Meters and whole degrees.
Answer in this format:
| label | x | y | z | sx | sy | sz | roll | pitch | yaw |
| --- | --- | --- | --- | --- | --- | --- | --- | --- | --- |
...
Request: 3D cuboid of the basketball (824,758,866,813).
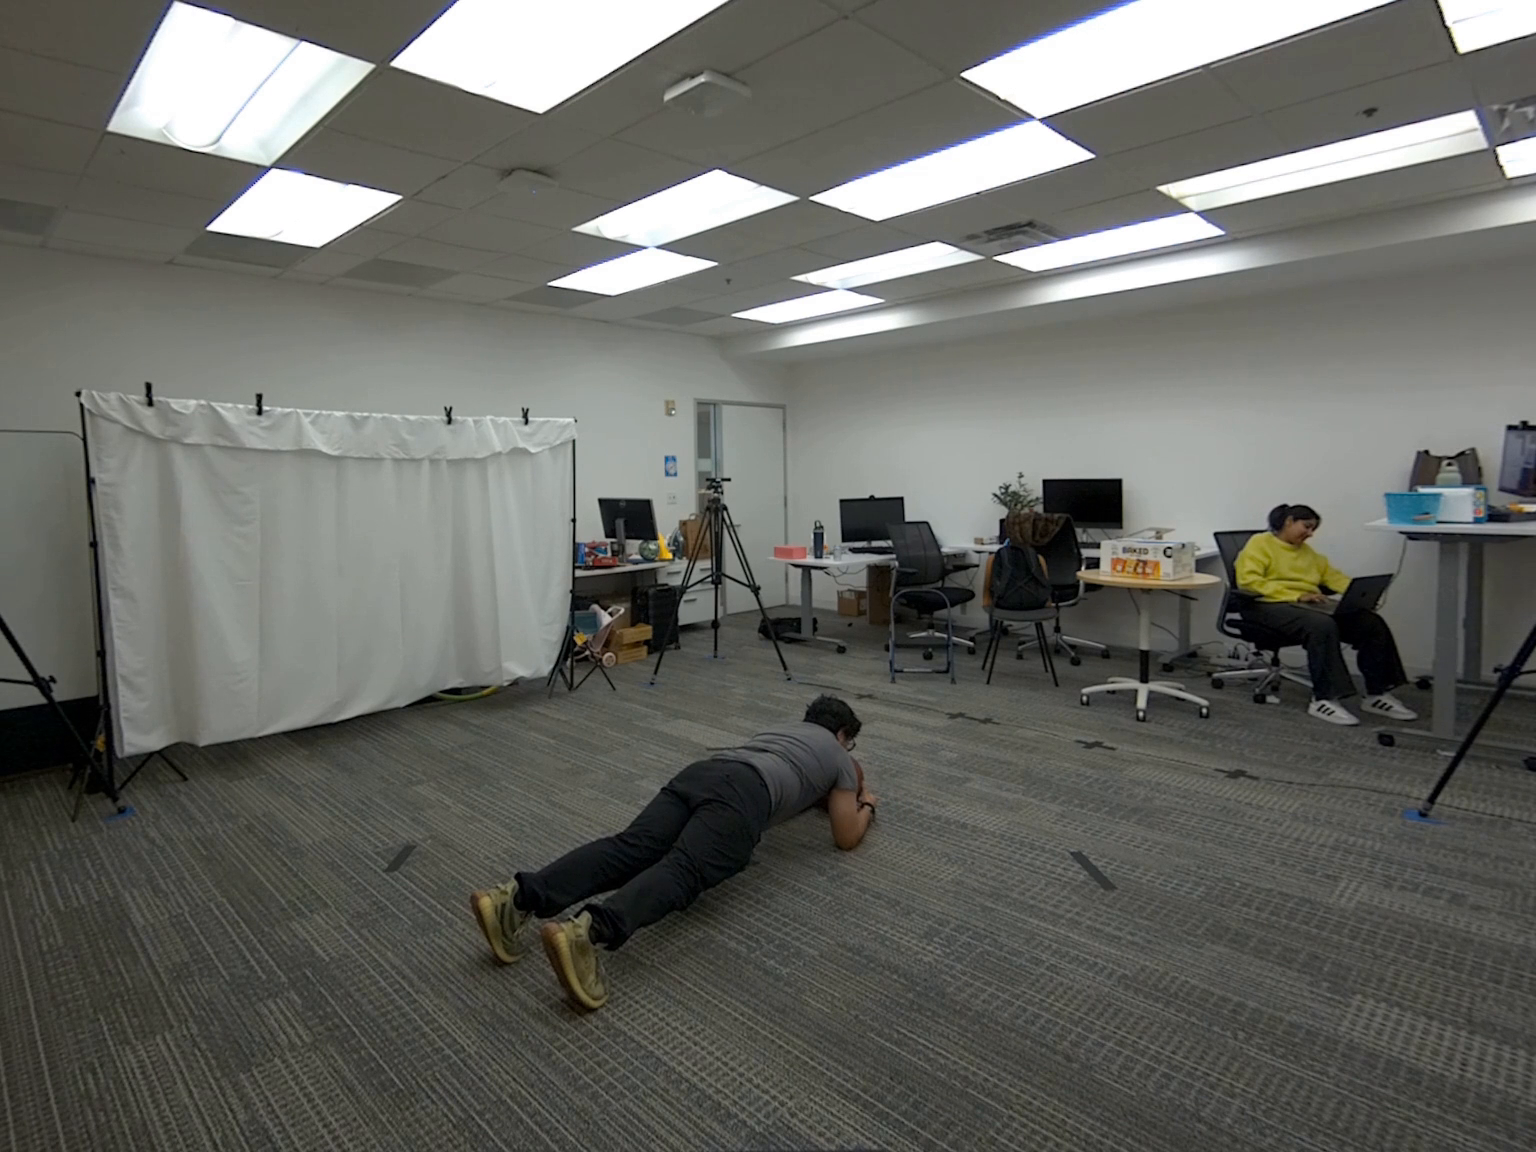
| label | x | y | z | sx | sy | sz | roll | pitch | yaw |
| --- | --- | --- | --- | --- | --- | --- | --- | --- | --- |
| basketball | 0.280 | 0.852 | 3.586 | 0.236 | 0.235 | 0.237 | -1 | 5 | -2 |
